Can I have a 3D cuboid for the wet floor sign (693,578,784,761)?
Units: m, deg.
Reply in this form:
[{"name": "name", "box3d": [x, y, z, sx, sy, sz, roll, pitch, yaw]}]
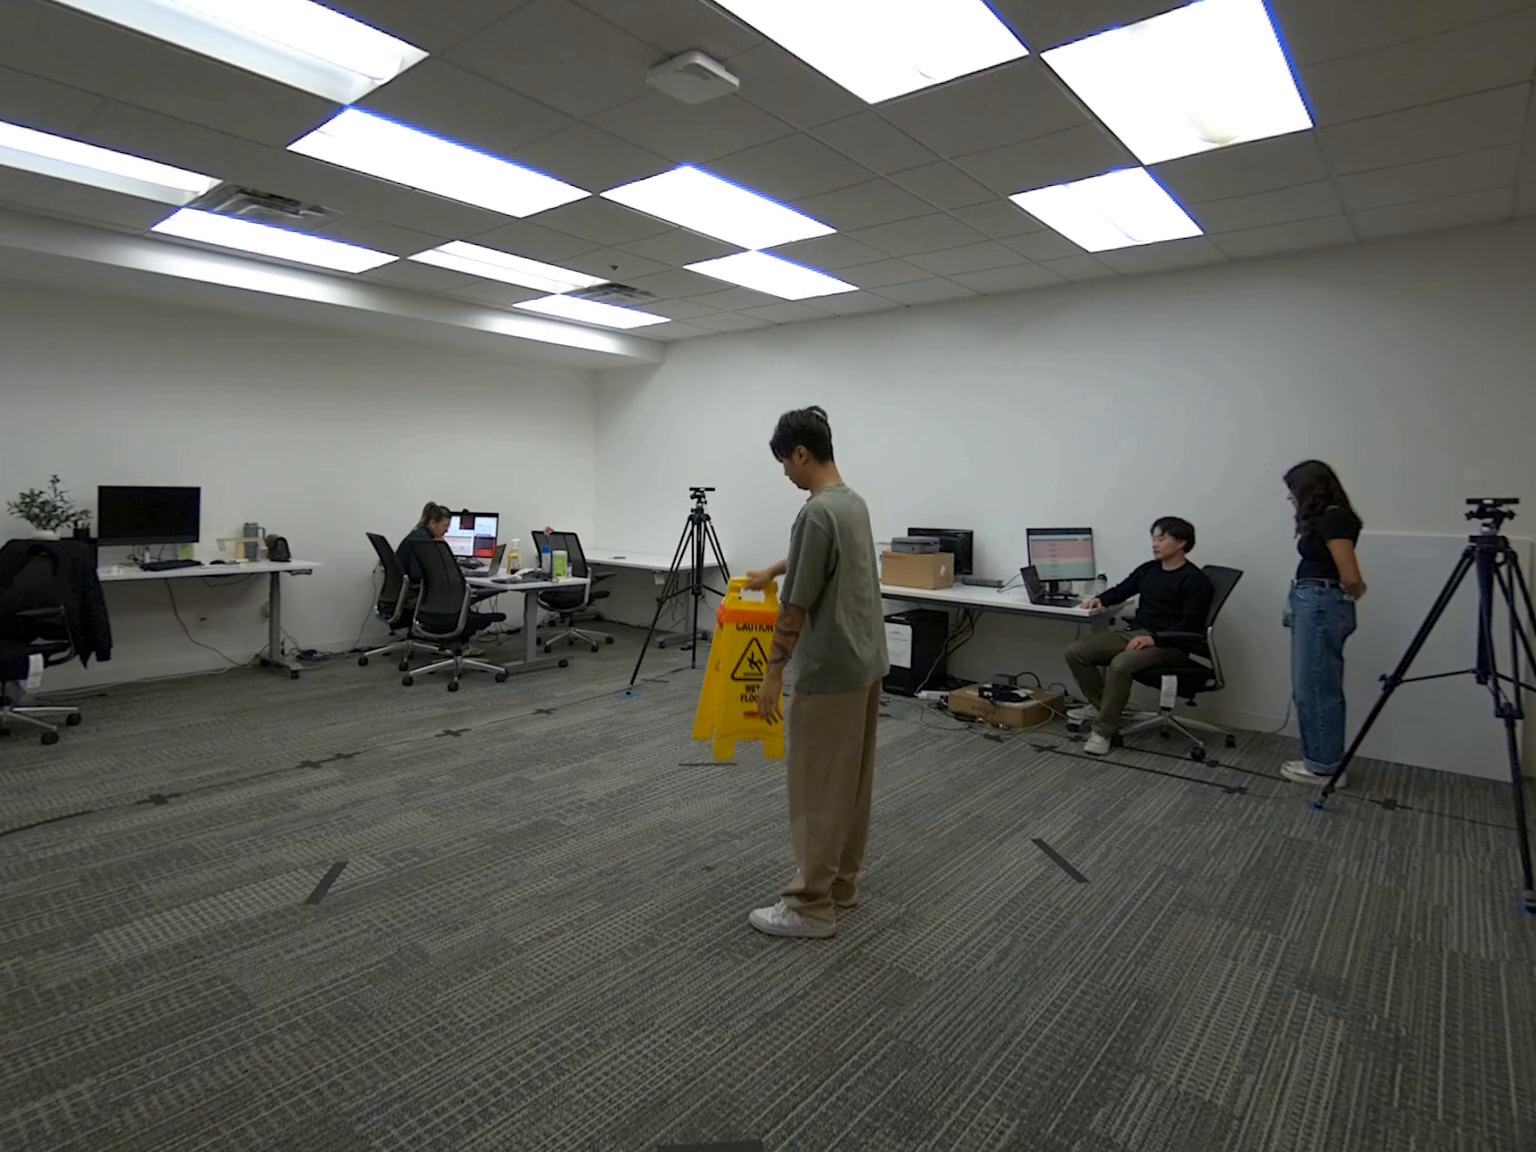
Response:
[{"name": "wet floor sign", "box3d": [-0.095, 0.317, 3.207, 0.276, 0.645, 0.297, 6, 2, -22]}]
